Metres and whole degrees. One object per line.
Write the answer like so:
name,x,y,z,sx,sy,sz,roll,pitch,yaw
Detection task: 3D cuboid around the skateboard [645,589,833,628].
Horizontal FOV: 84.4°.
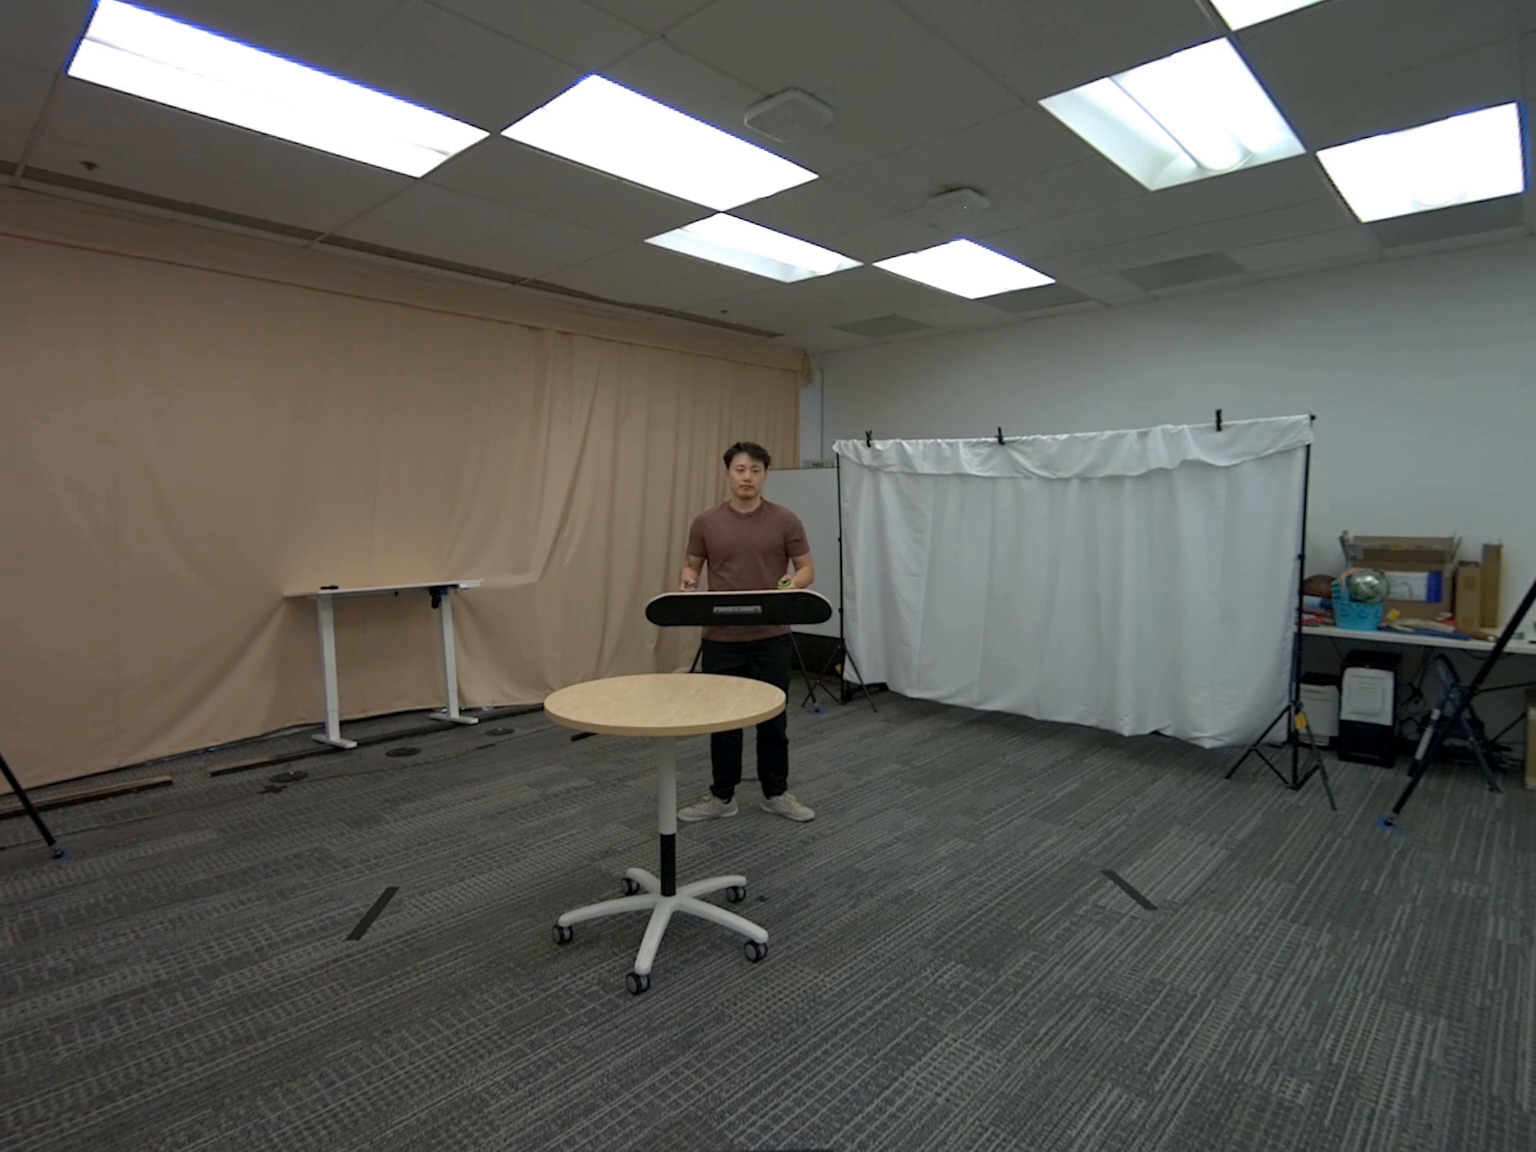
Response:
skateboard,-0.136,0.115,3.531,0.795,0.189,0.111,-1,42,12
